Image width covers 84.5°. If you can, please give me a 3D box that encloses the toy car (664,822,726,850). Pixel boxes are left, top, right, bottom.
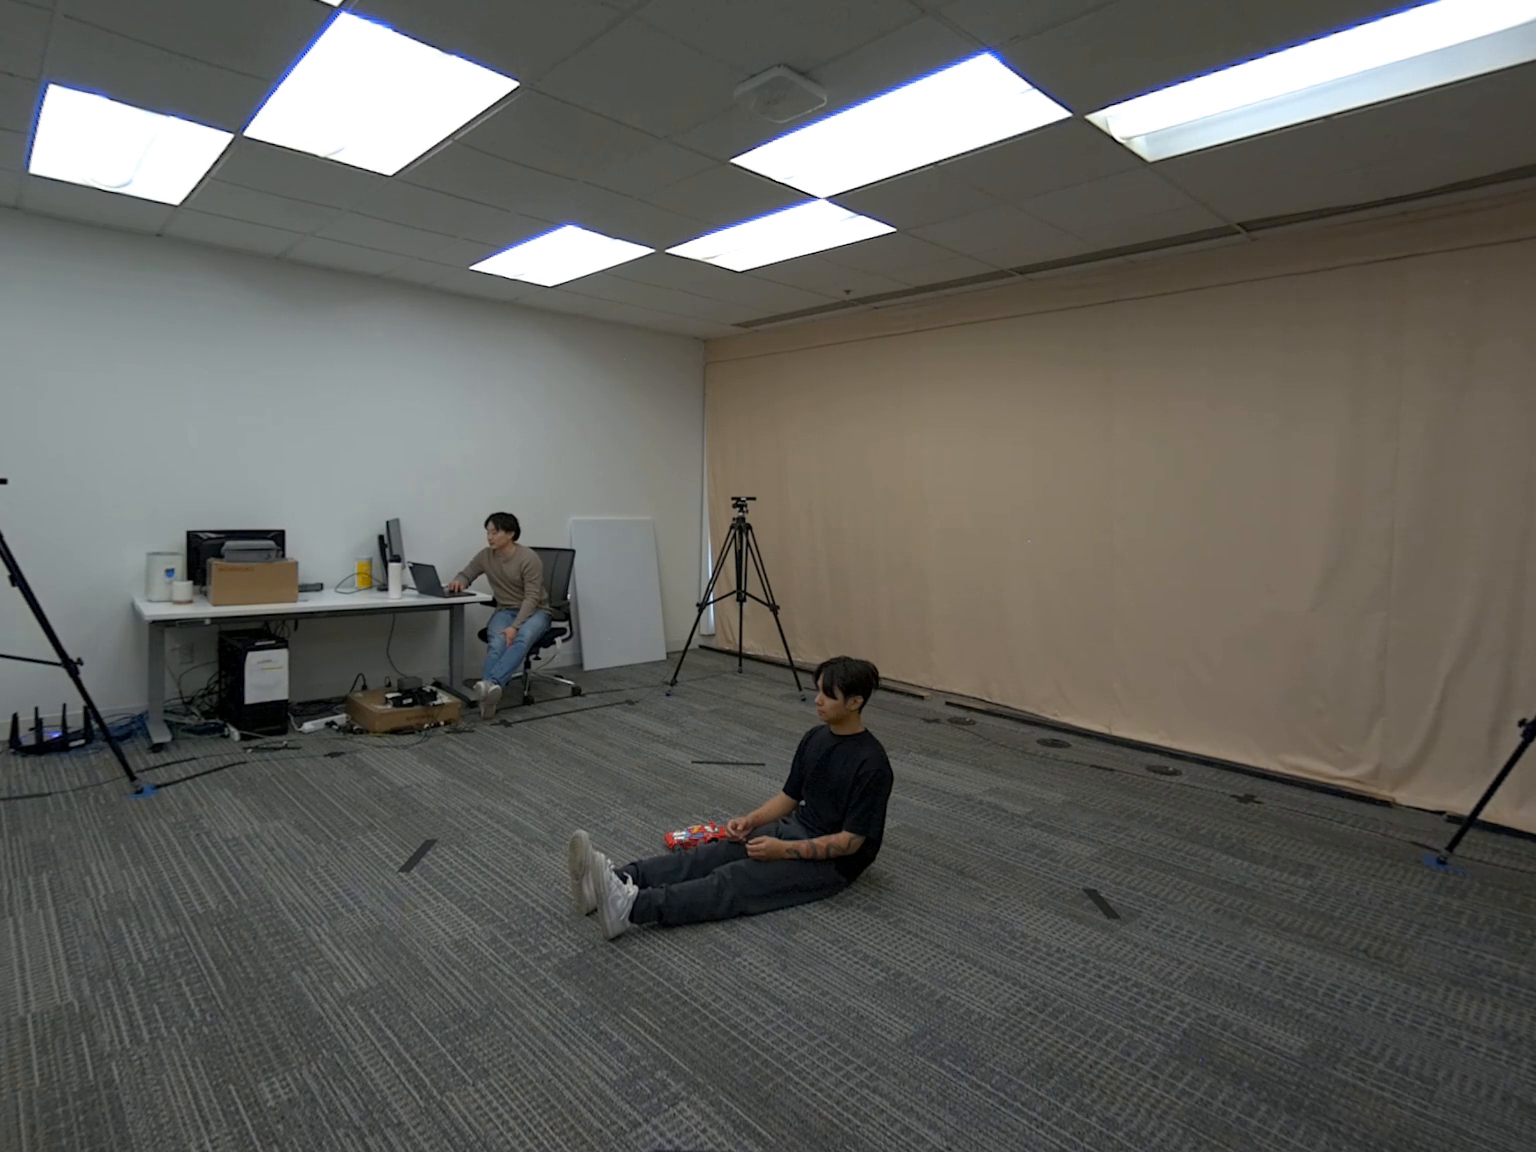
[{"bbox_3d":[-0.285,1.042,3.362,0.252,0.083,0.132,-12,8,-18],"label":"toy car"}]
